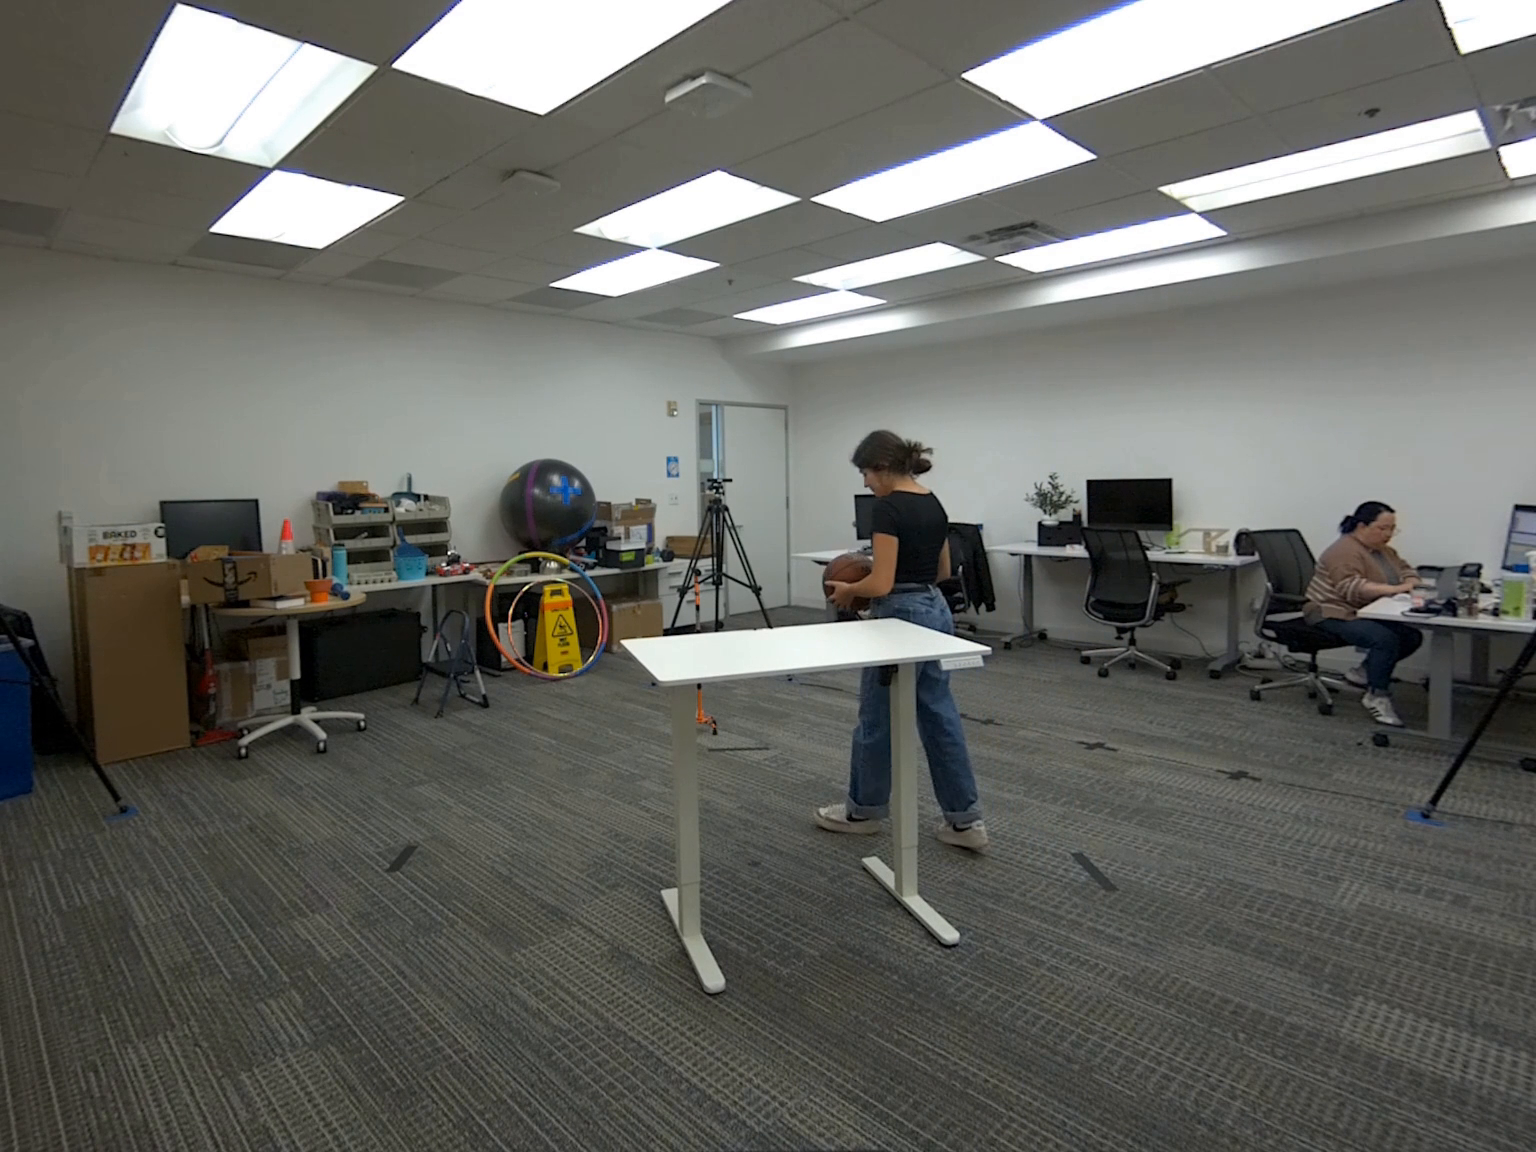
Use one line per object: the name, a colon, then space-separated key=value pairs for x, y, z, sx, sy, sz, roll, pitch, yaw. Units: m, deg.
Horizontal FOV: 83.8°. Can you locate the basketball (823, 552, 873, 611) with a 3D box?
basketball: x=0.341 y=0.019 z=3.461 sx=0.236 sy=0.235 sz=0.237 roll=-1 pitch=5 yaw=-2
